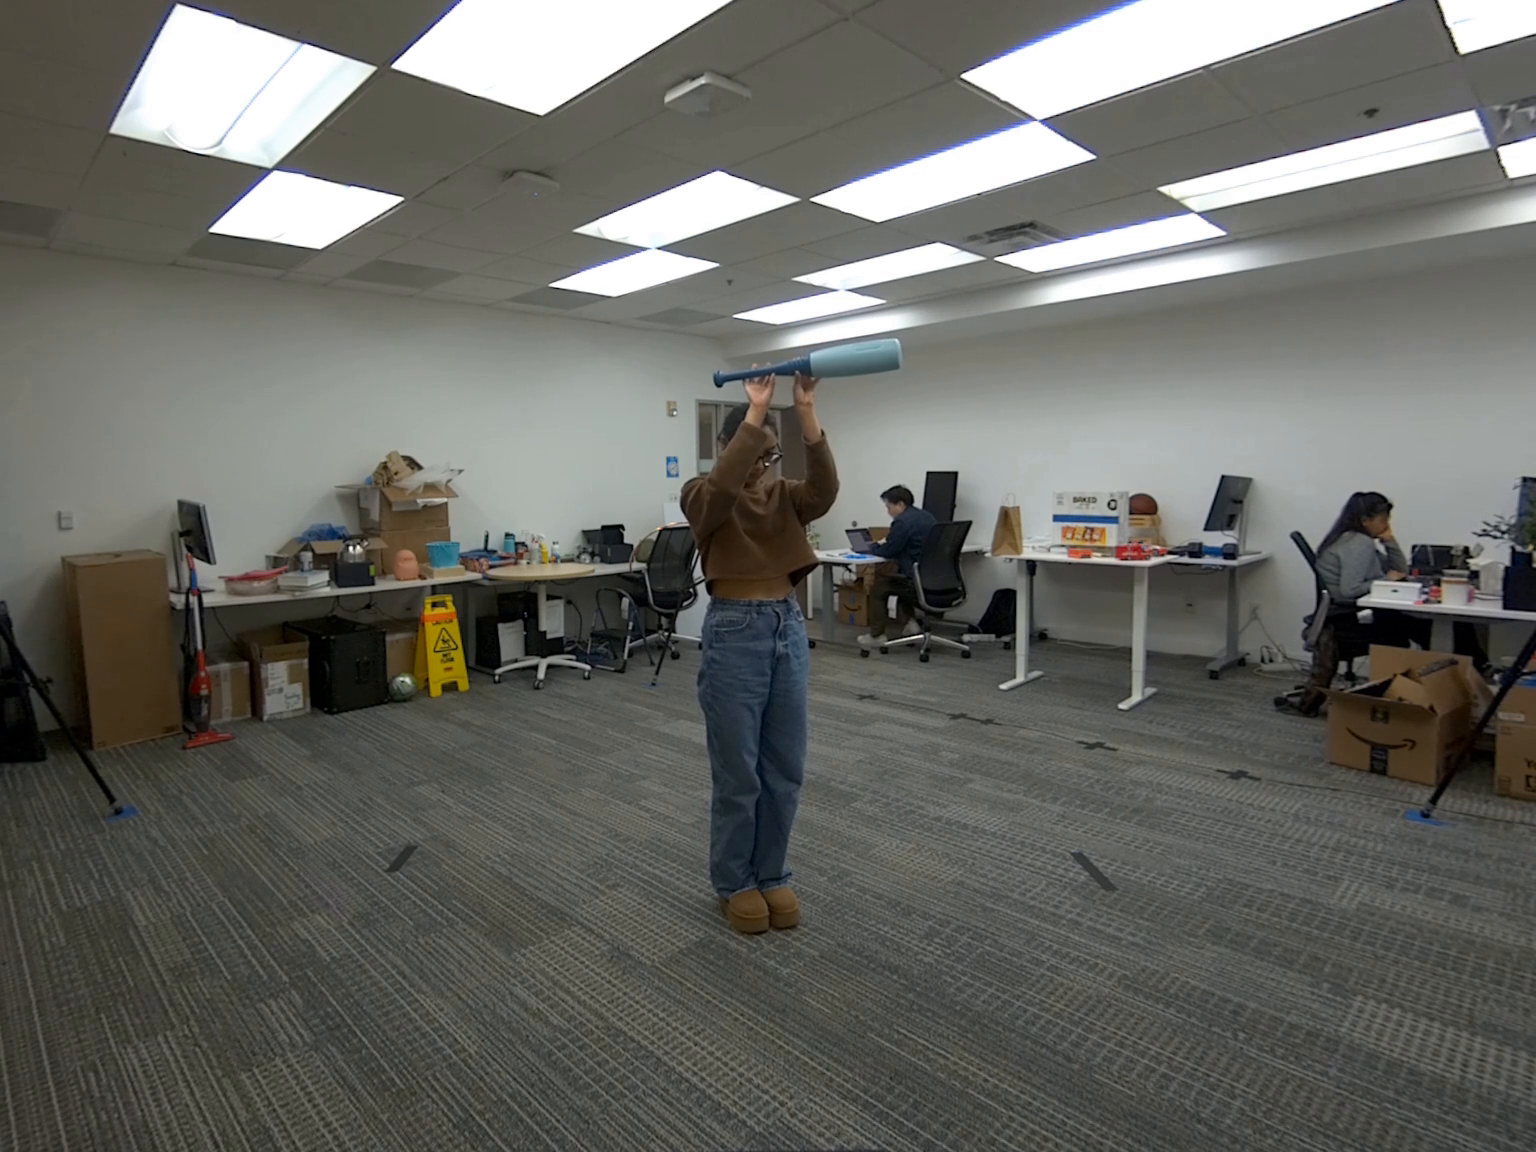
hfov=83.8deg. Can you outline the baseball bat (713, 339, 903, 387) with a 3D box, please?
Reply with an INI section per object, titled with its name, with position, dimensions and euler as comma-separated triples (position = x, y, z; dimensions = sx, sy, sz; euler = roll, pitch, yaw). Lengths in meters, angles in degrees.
[baseball bat]
position = 0.109, -0.601, 2.452
dimensions = 0.550, 0.089, 0.088
euler = -4, 4, 15
